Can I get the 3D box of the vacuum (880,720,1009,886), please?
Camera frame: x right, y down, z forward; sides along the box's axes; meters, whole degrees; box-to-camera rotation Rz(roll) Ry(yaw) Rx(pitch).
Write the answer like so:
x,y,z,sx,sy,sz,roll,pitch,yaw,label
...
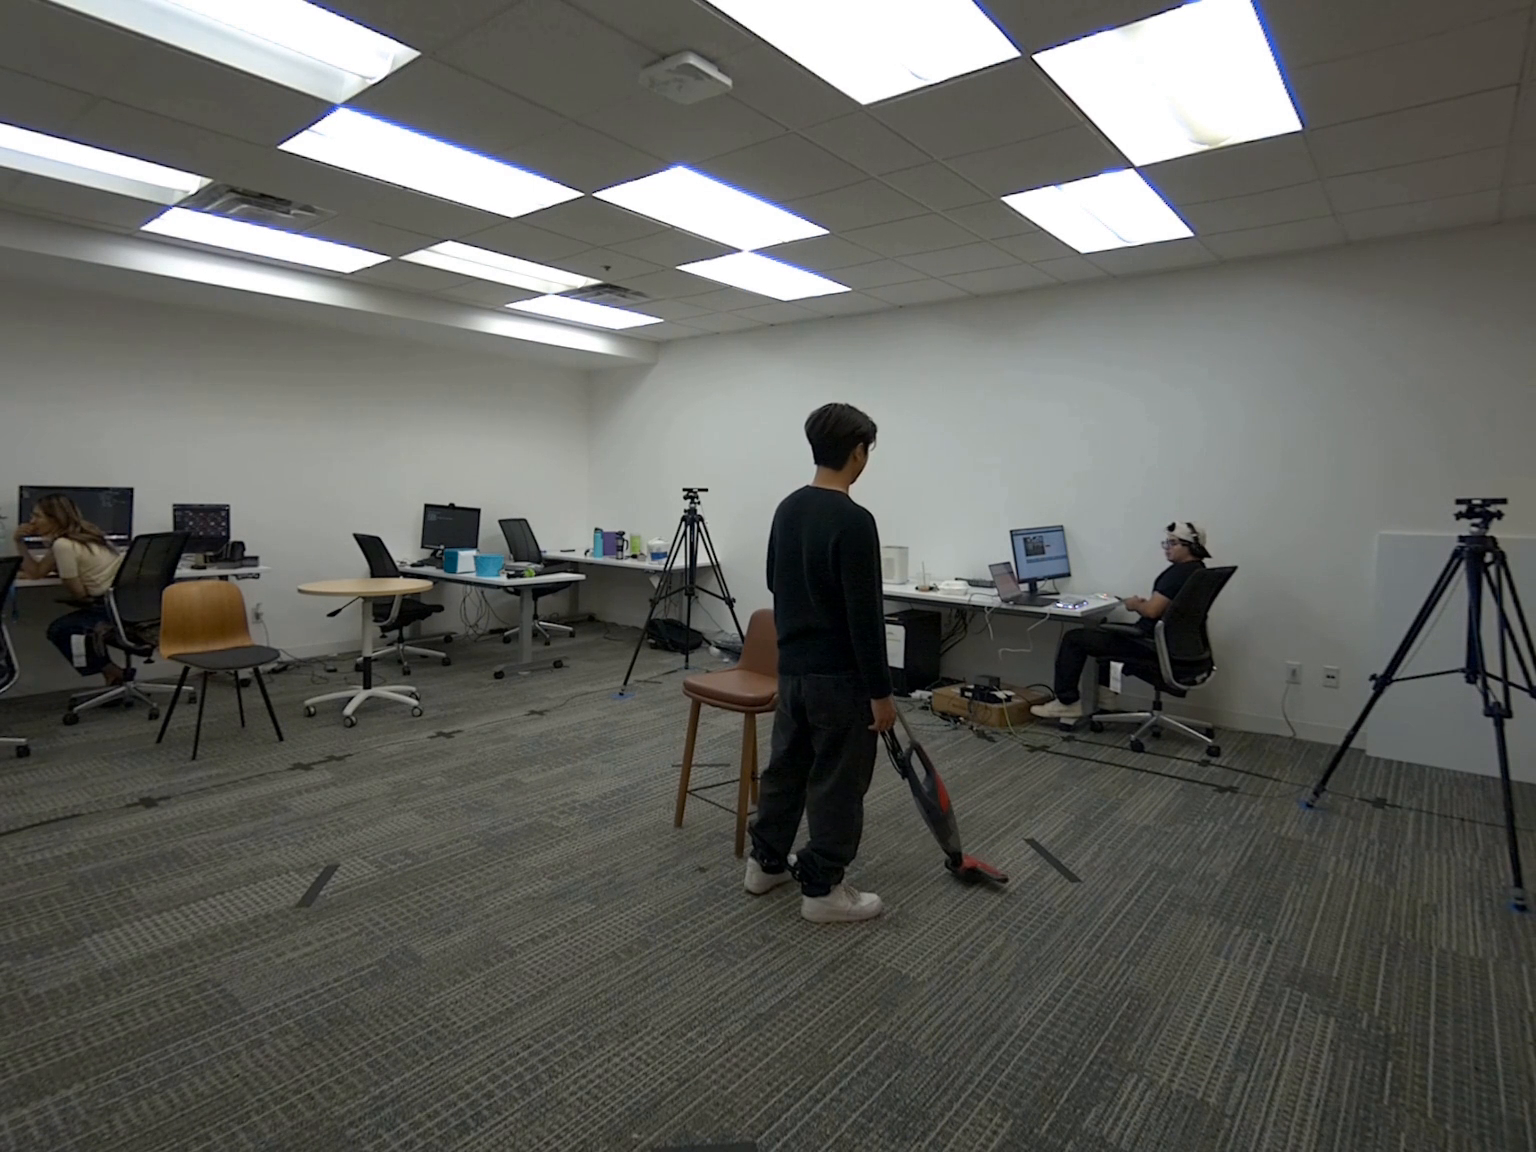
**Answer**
x,y,z,sx,sy,sz,roll,pitch,yaw,label
0.491,0.630,3.042,0.143,1.040,0.257,-31,6,-19,vacuum
